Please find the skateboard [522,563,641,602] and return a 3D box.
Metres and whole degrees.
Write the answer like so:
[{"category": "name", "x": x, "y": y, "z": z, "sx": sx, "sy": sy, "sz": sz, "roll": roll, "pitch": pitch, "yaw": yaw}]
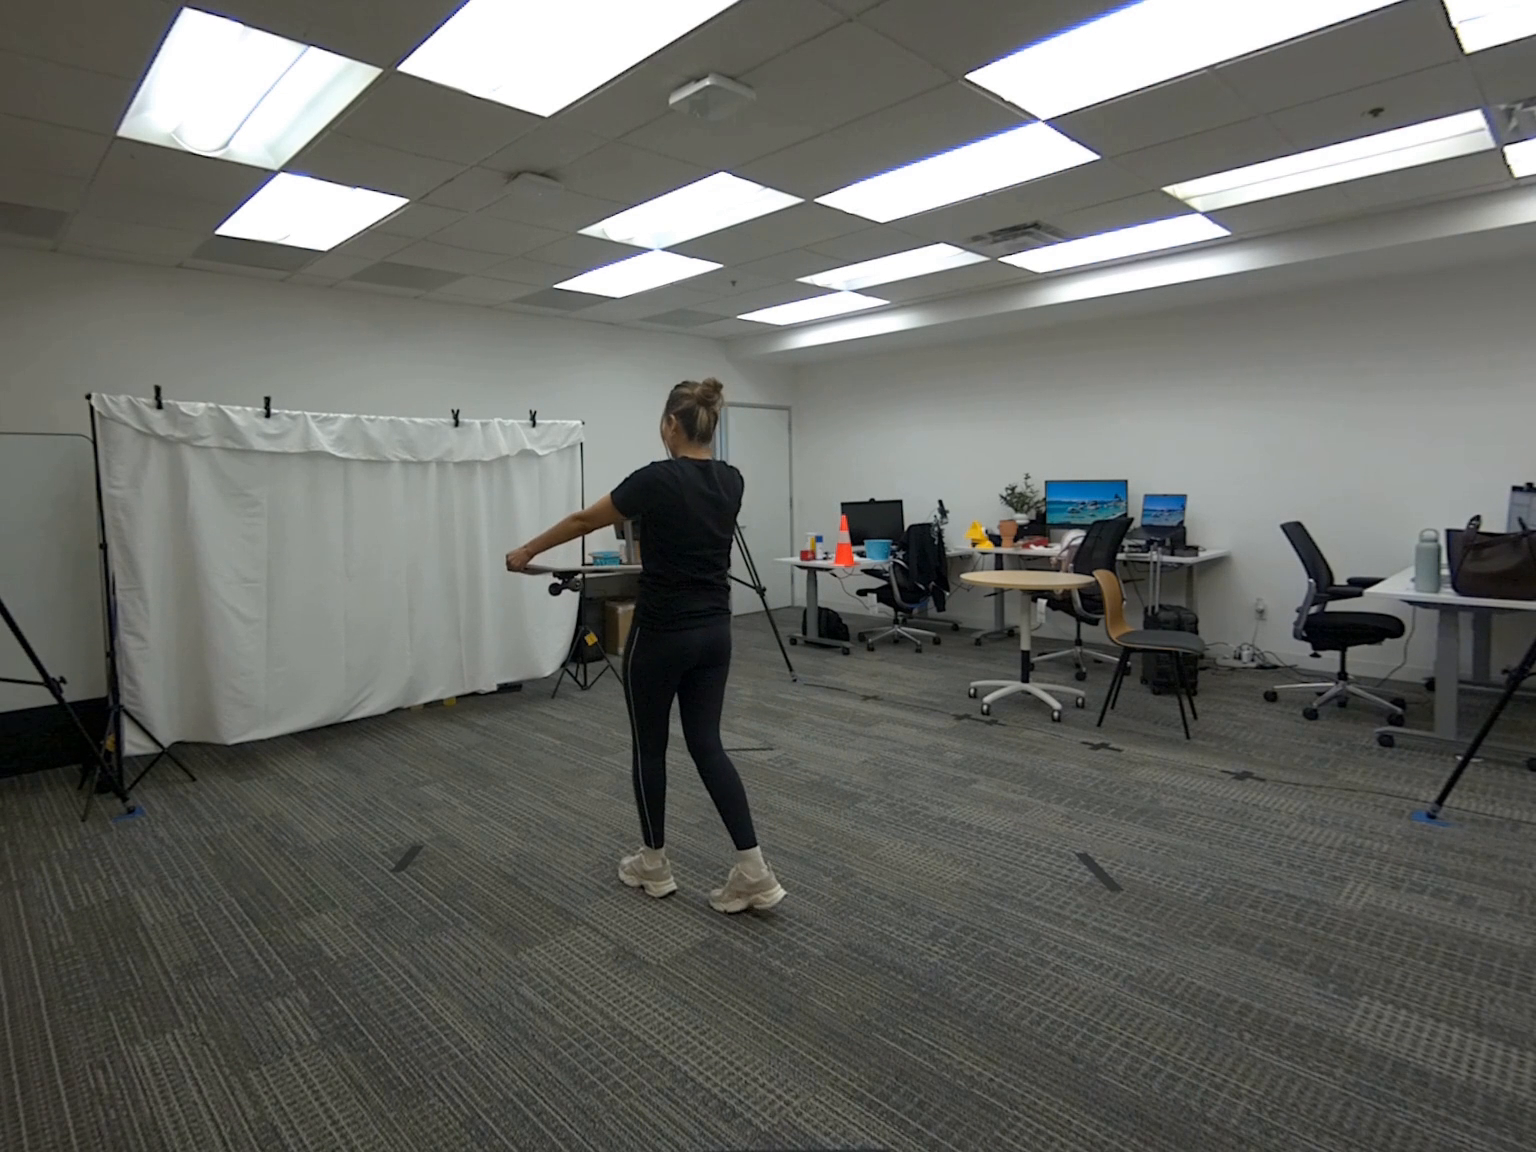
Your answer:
[{"category": "skateboard", "x": -0.582, "y": 0.012, "z": 3.210, "sx": 0.763, "sy": 0.111, "sz": 0.198, "roll": -1, "pitch": -6, "yaw": -39}]
